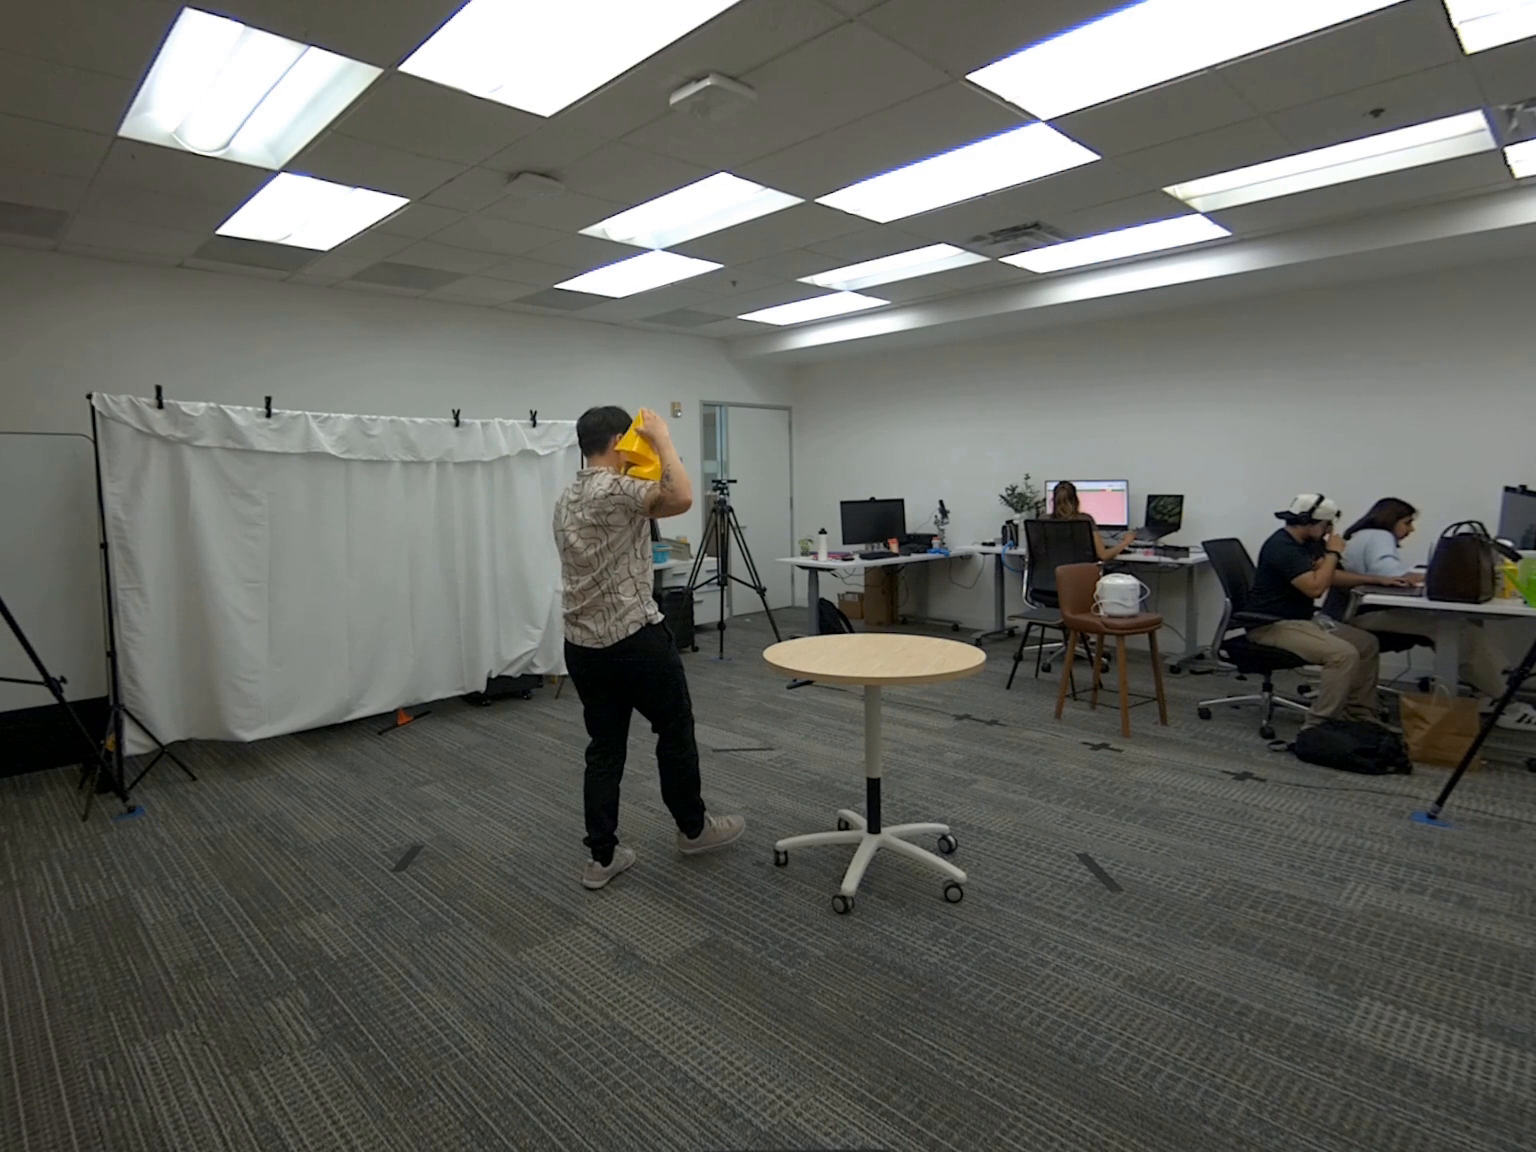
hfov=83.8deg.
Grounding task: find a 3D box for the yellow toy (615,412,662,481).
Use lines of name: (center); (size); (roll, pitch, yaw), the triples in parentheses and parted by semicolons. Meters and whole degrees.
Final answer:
yellow toy: (-0.405, -0.449, 2.947); (0.188, 0.230, 0.210); (9, 3, -26)
